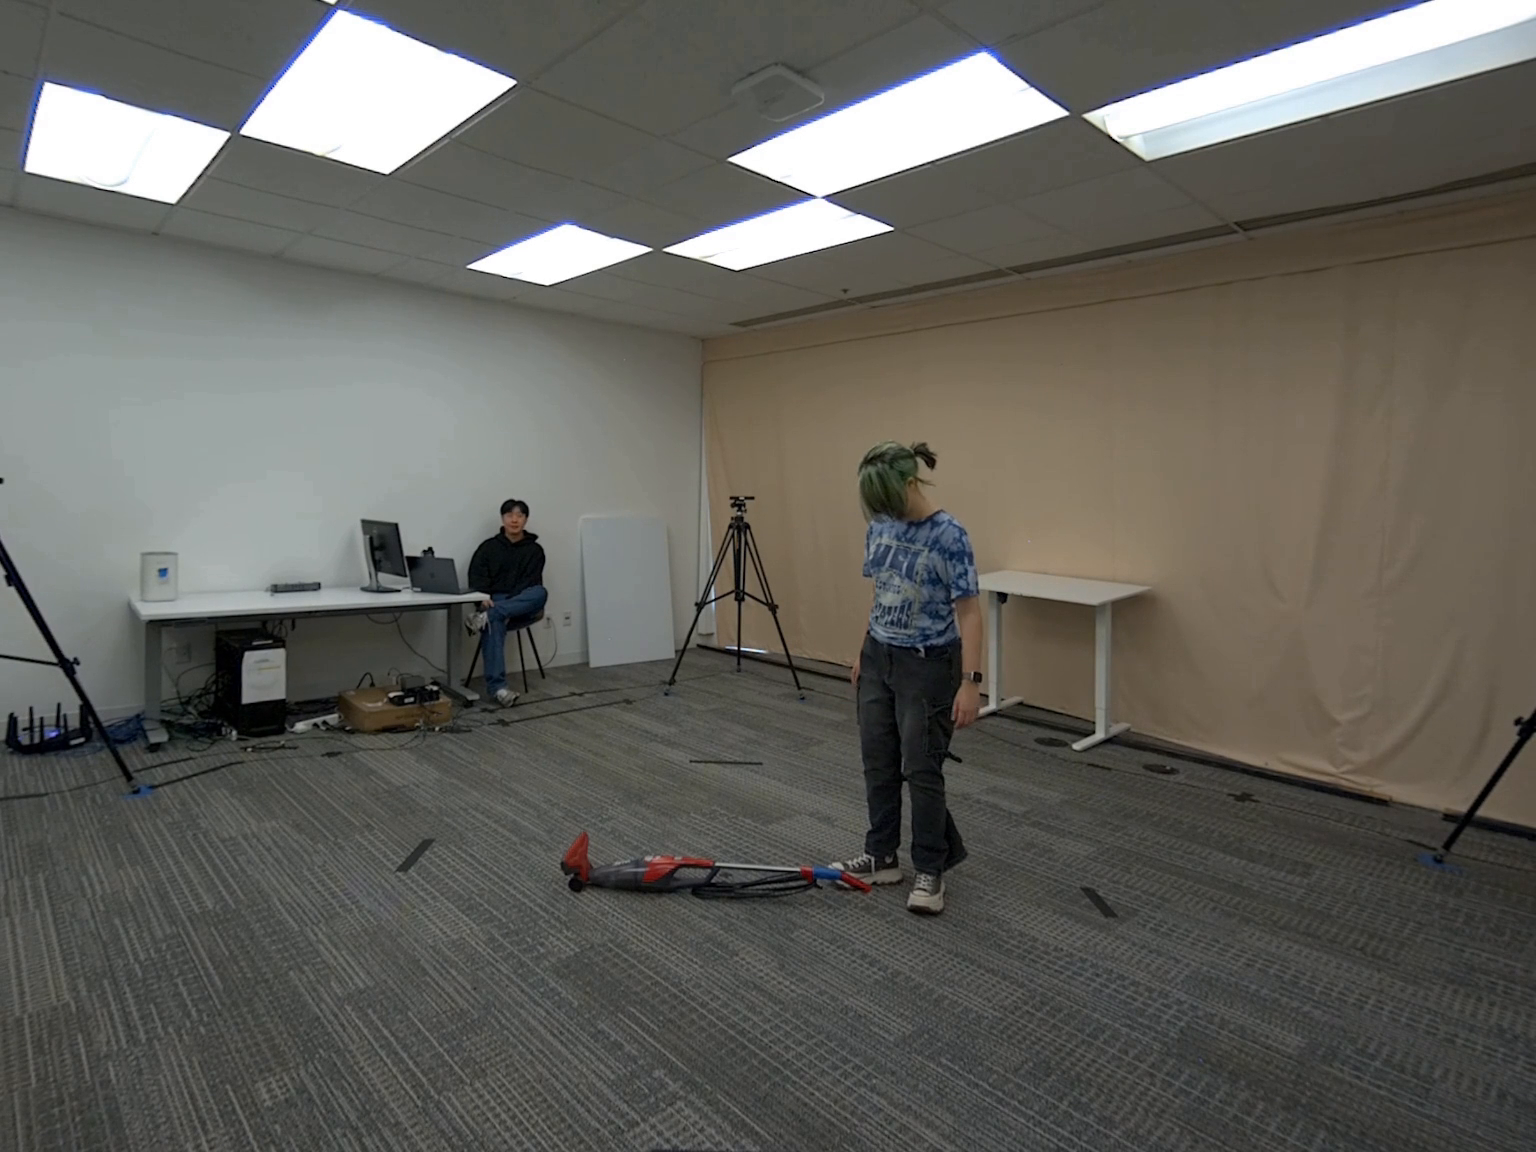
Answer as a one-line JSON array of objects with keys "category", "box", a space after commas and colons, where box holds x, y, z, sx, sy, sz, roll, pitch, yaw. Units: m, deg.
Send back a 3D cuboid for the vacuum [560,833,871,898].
[{"category": "vacuum", "box": [-0.172, 1.047, 2.942, 1.055, 0.143, 0.252, 4, 5, 6]}]
